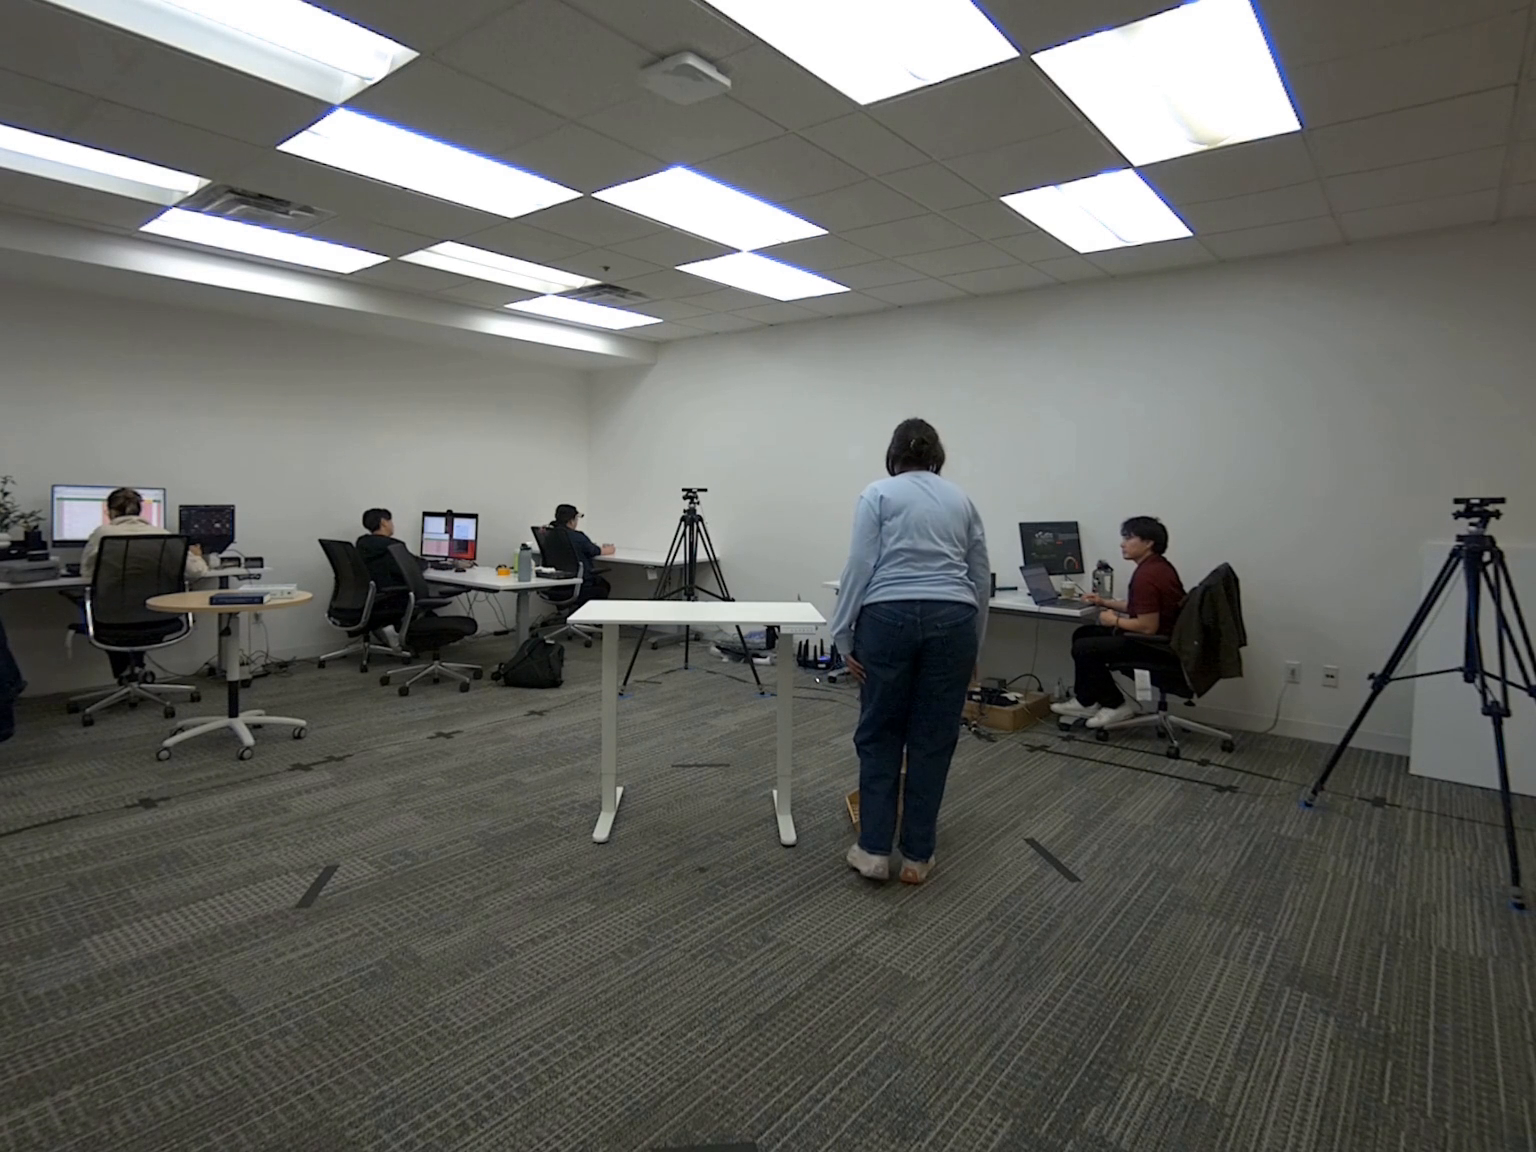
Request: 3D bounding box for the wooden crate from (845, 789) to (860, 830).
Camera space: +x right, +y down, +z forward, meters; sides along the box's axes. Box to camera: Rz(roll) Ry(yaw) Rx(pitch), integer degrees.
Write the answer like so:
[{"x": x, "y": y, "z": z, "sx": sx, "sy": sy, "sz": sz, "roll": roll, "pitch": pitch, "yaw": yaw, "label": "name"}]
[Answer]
[{"x": 0.479, "y": 0.895, "z": 3.596, "sx": 0.302, "sy": 0.272, "sz": 0.325, "roll": 3, "pitch": 4, "yaw": -1, "label": "wooden crate"}]
